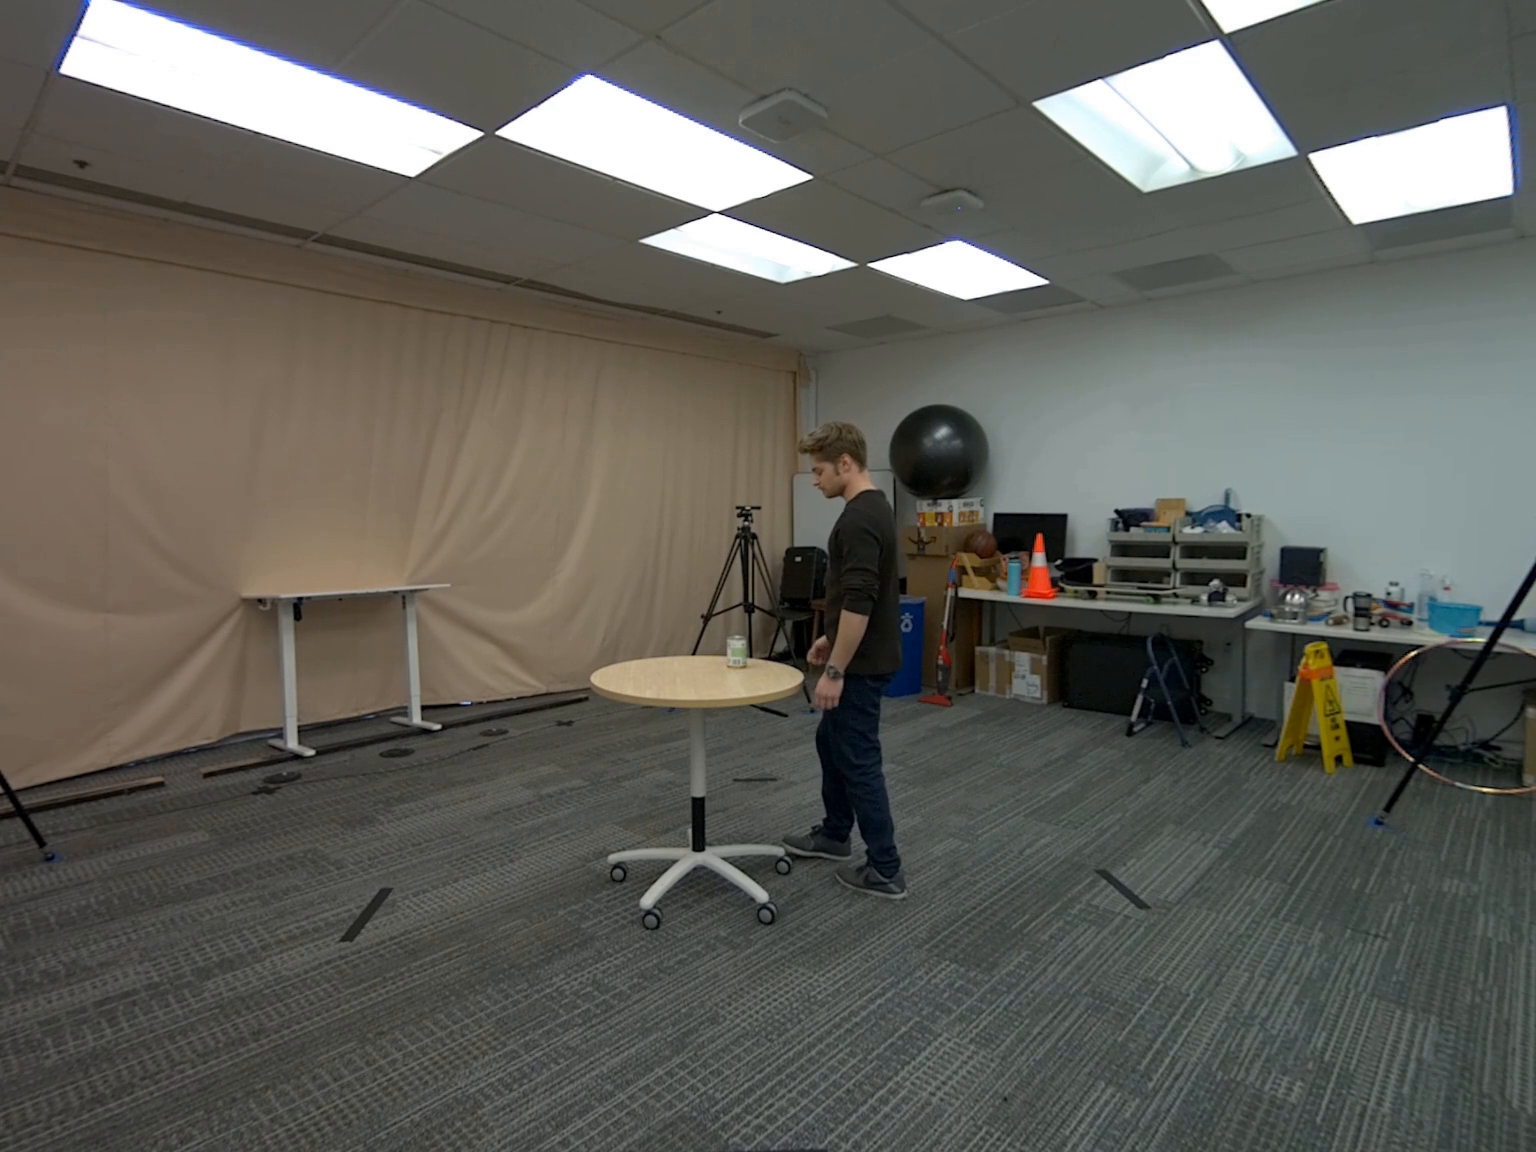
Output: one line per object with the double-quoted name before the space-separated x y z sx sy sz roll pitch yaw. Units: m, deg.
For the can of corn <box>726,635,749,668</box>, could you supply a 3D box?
"can of corn" -0.112 0.289 3.191 0.074 0.110 0.074 0 6 -2
